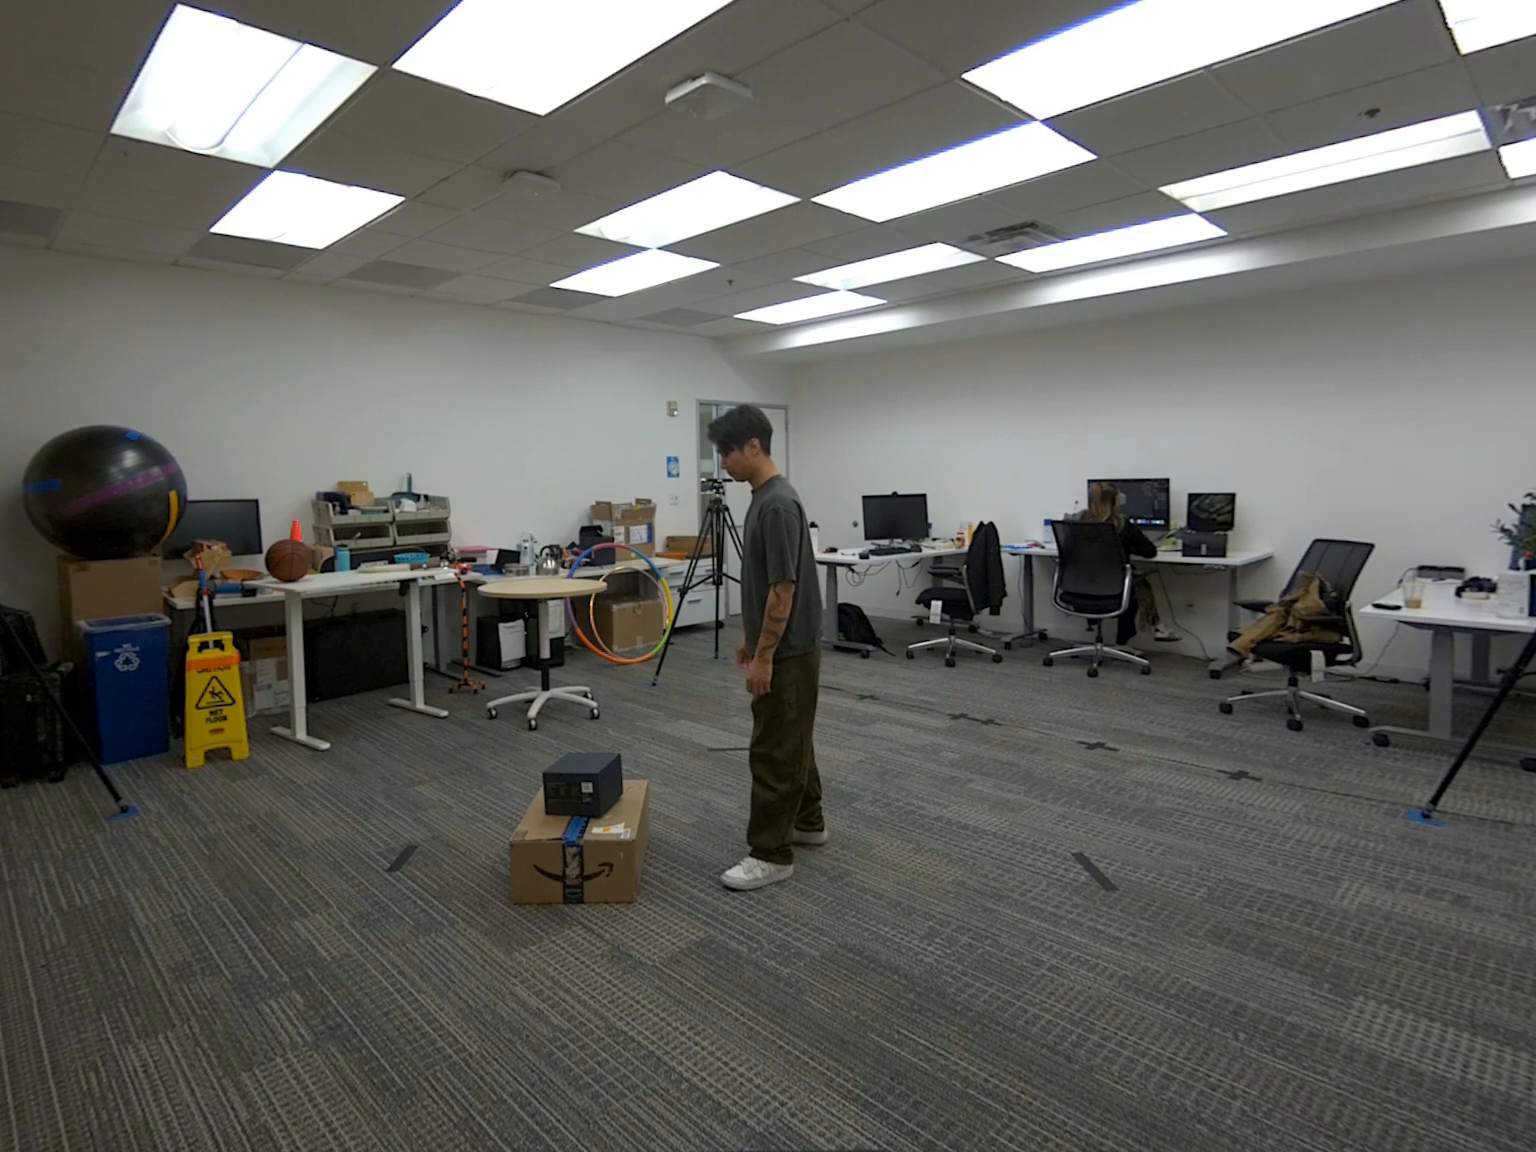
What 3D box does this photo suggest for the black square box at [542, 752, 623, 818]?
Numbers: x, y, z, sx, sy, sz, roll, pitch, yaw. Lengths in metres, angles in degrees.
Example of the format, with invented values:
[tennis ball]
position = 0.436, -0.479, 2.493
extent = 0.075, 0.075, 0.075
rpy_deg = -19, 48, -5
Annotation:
[black square box]
position = -0.667, 0.755, 3.113
extent = 0.219, 0.155, 0.226
rpy_deg = -3, 5, 12
